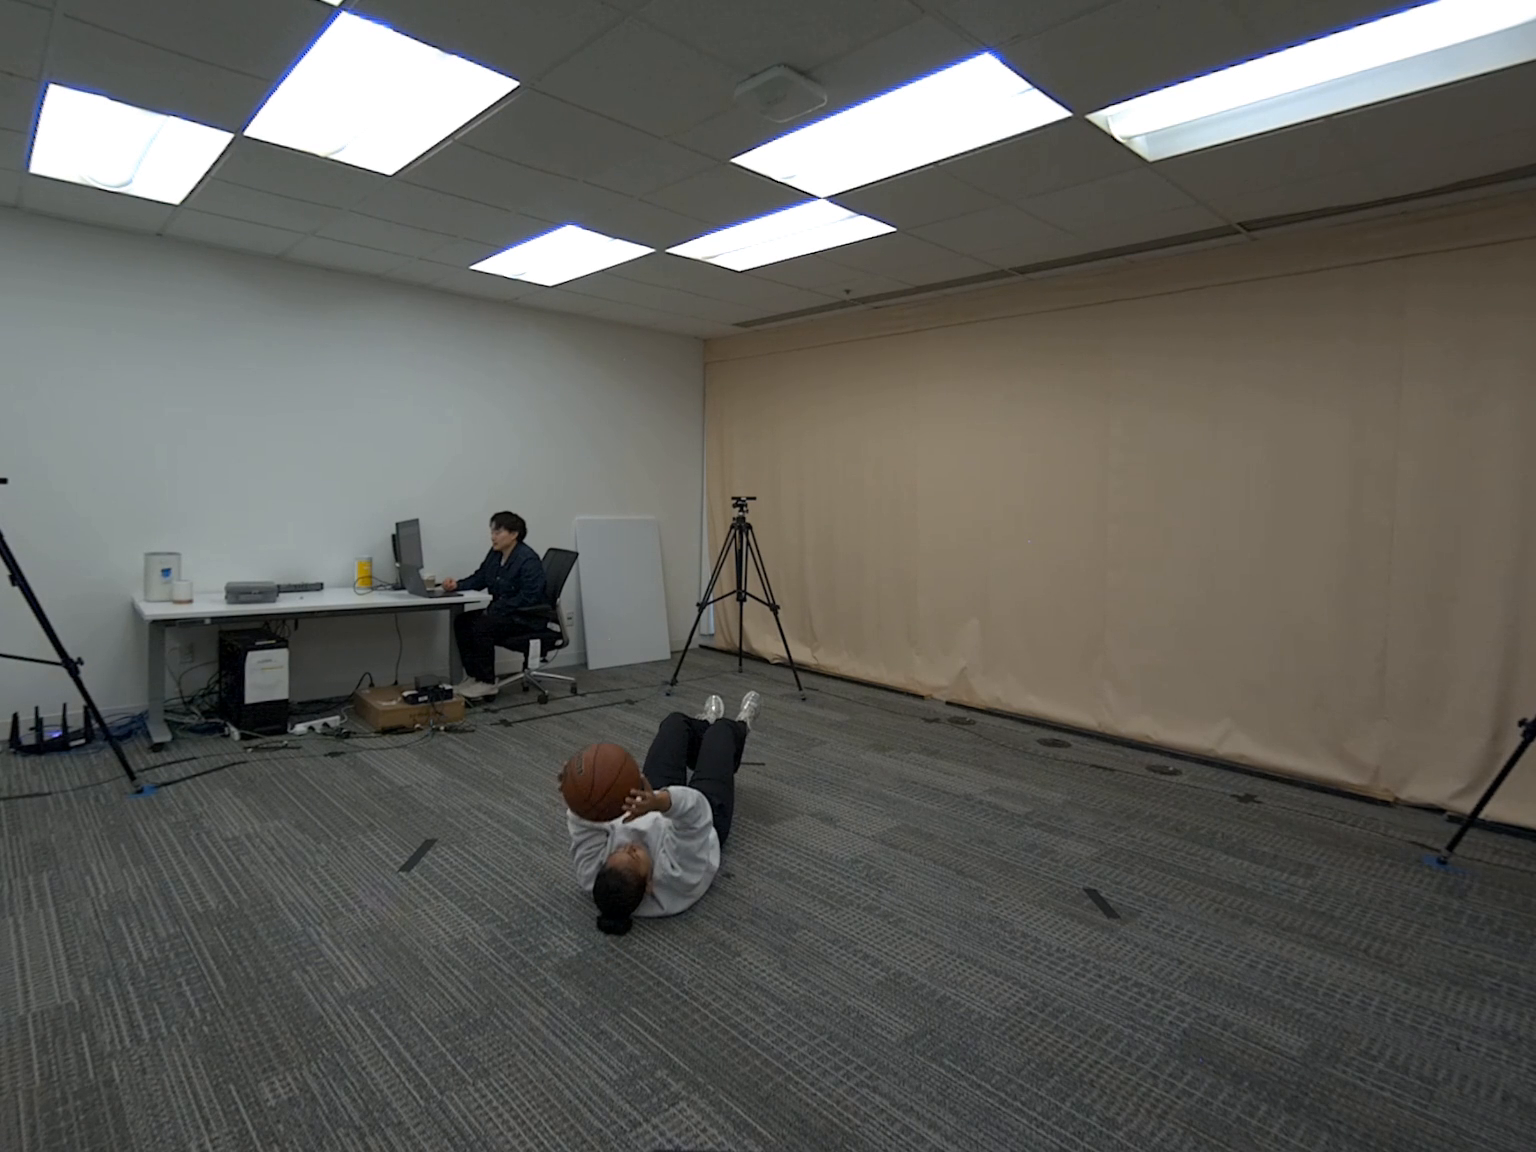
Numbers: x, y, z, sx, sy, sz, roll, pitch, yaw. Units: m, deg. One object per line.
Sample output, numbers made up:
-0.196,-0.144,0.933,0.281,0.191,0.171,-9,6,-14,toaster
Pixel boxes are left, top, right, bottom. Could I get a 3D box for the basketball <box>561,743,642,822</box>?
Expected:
-0.516,0.634,2.587,0.236,0.235,0.237,1,5,-1,basketball
